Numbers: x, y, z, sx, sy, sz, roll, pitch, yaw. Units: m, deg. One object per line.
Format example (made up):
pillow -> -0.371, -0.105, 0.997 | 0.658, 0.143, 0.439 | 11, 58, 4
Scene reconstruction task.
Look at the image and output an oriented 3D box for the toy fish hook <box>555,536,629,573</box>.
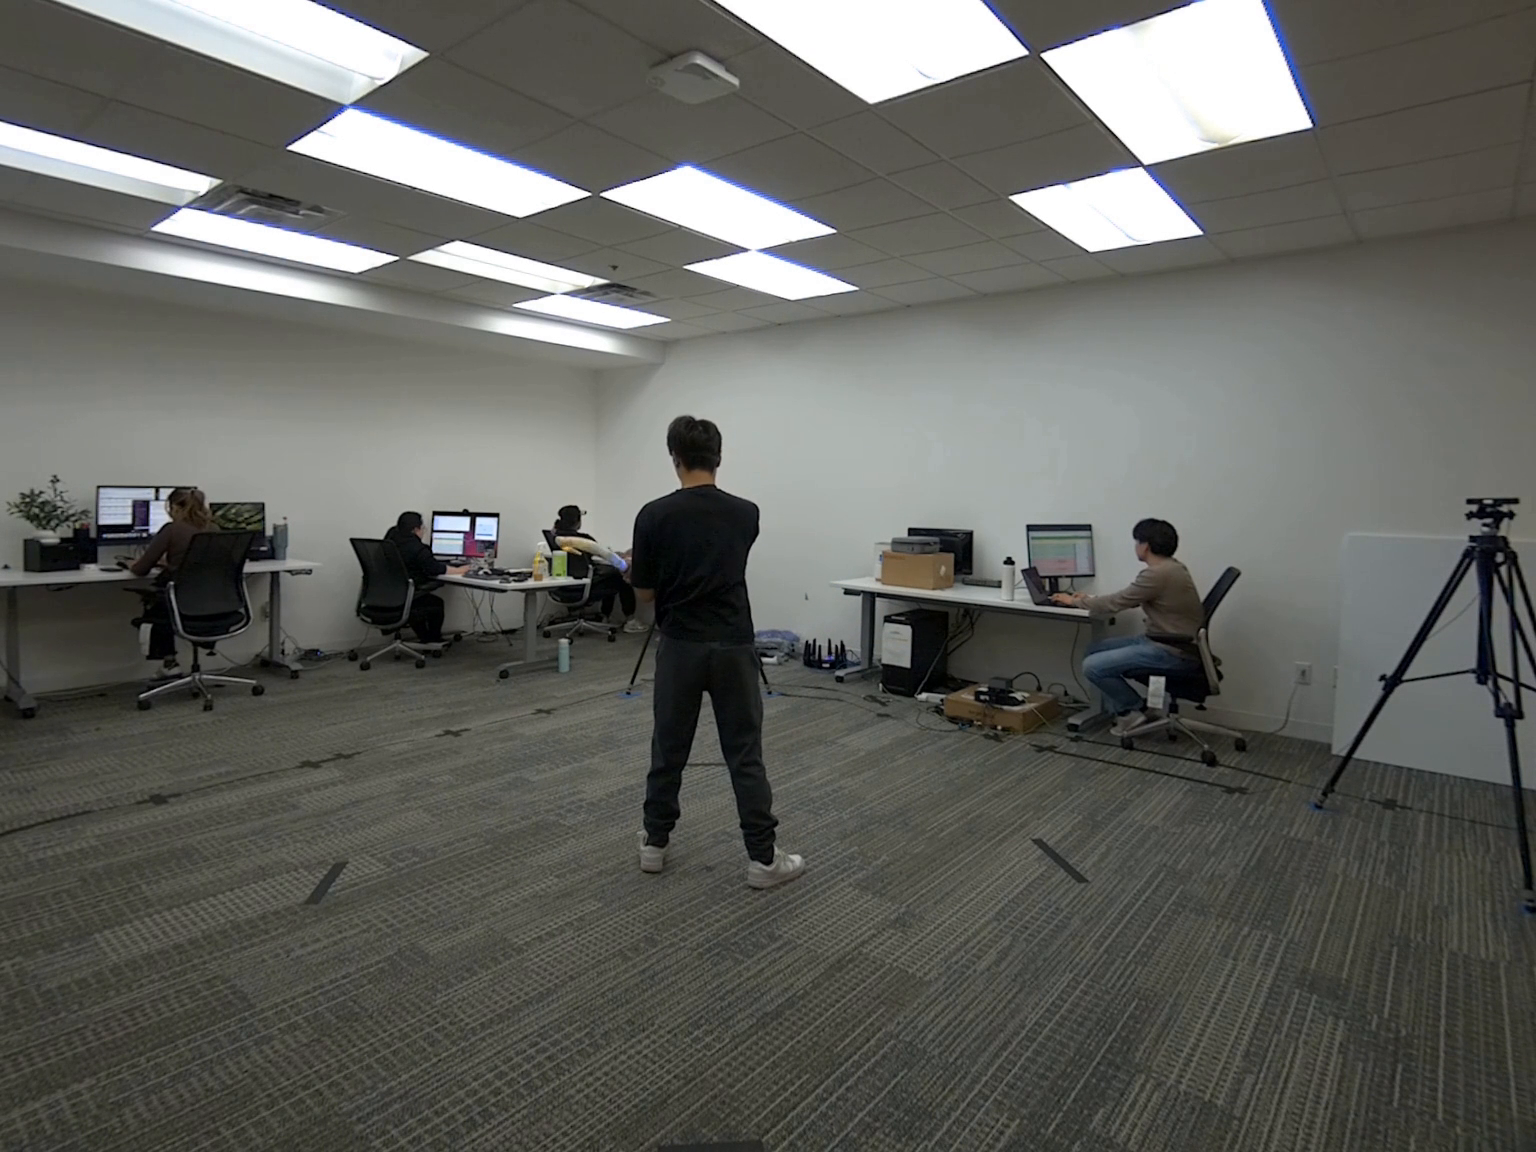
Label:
toy fish hook -> -0.634, -0.055, 3.273 | 0.232, 0.049, 0.486 | 11, -16, 34
